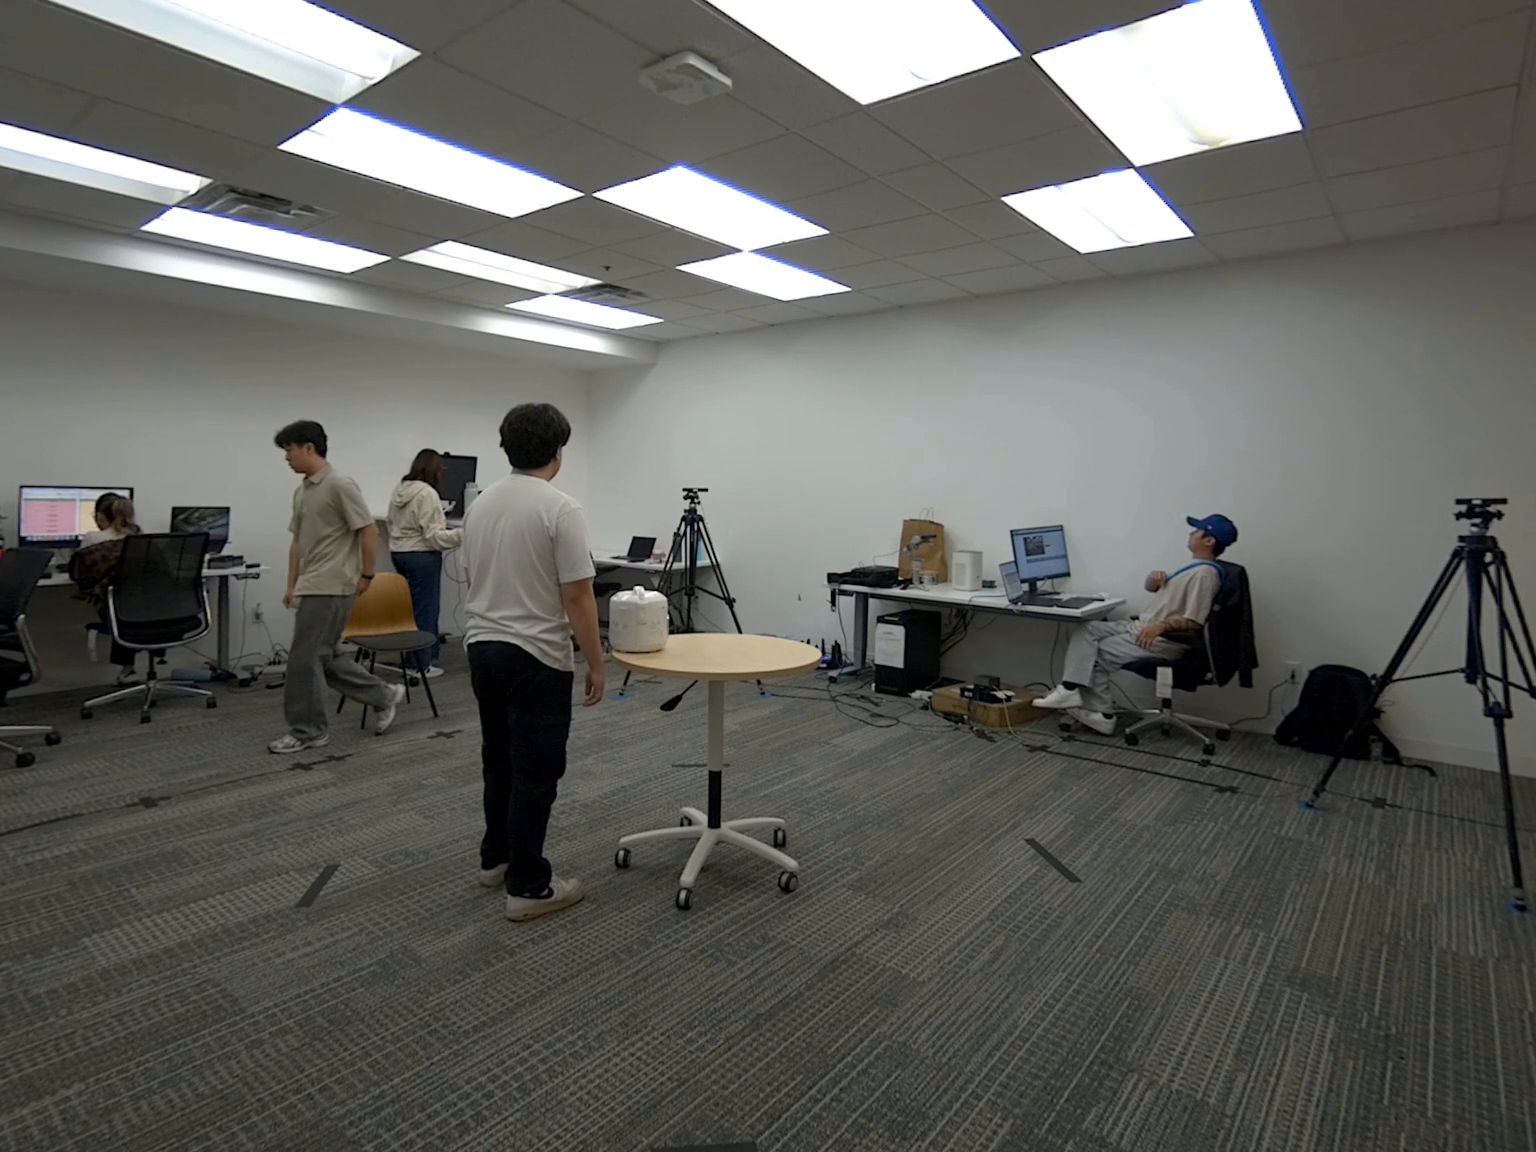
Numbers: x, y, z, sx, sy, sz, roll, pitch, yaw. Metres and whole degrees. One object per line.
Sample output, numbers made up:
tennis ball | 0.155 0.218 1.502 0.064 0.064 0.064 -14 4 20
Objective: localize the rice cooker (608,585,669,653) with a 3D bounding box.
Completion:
rice cooker | -0.482 0.151 3.132 0.215 0.232 0.224 -3 5 -13
